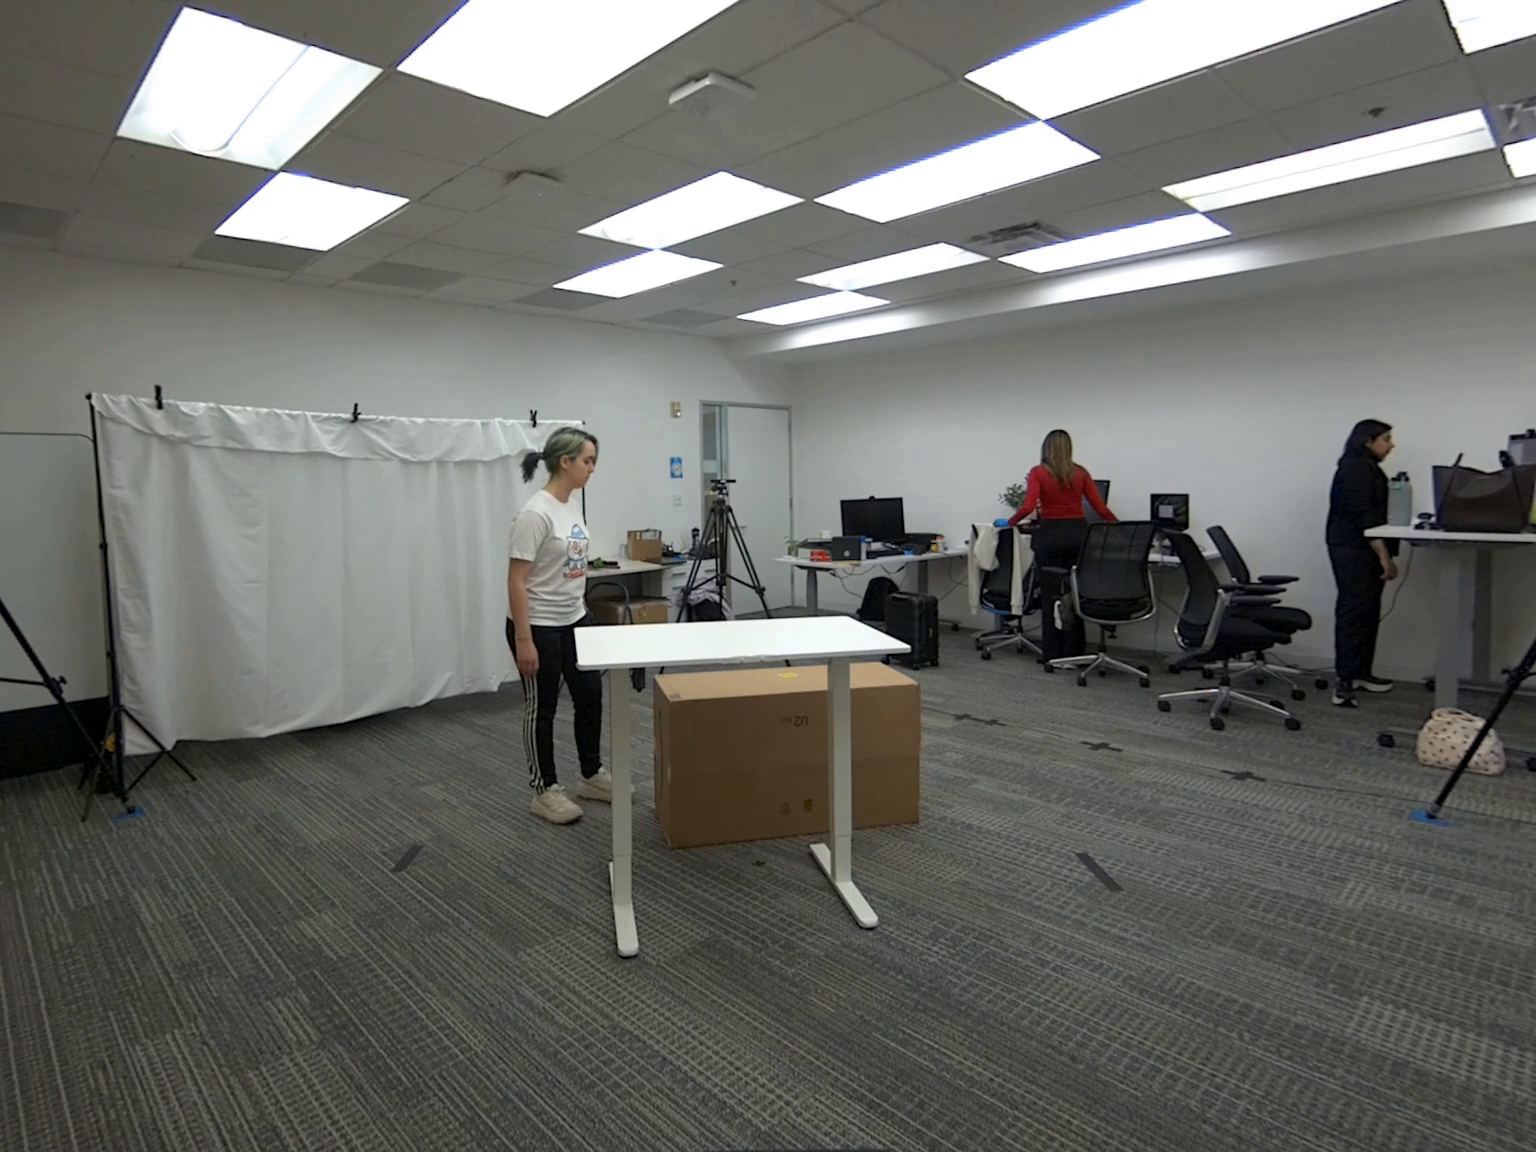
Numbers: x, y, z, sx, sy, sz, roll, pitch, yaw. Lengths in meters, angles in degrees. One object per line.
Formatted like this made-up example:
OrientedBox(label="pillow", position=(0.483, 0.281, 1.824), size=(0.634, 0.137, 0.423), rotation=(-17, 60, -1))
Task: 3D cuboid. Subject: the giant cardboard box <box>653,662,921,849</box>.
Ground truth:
OrientedBox(label="giant cardboard box", position=(0.064, 0.702, 3.533), size=(1.014, 0.582, 0.454), rotation=(-2, 5, -14))
